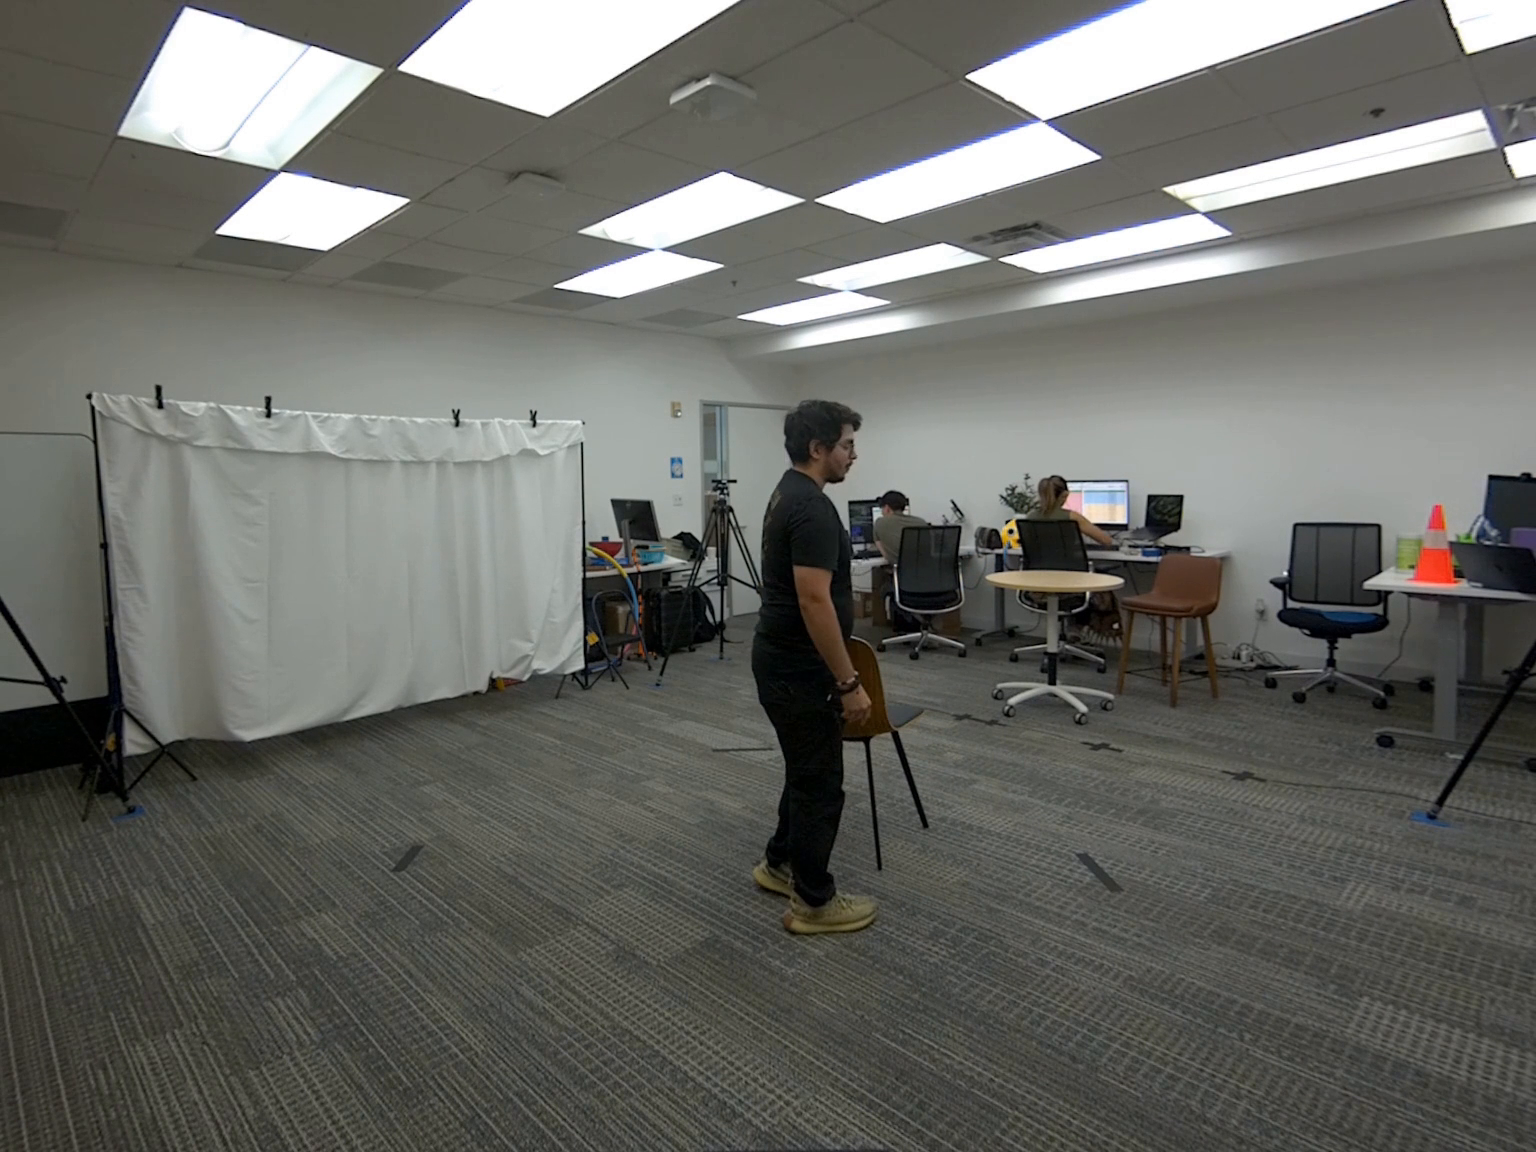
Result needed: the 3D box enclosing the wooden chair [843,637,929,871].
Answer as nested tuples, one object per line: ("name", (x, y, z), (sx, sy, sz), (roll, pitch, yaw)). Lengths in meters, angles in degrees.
("wooden chair", (0.326, 0.589, 3.328), (0.491, 0.871, 0.512), (2, 9, 34))
